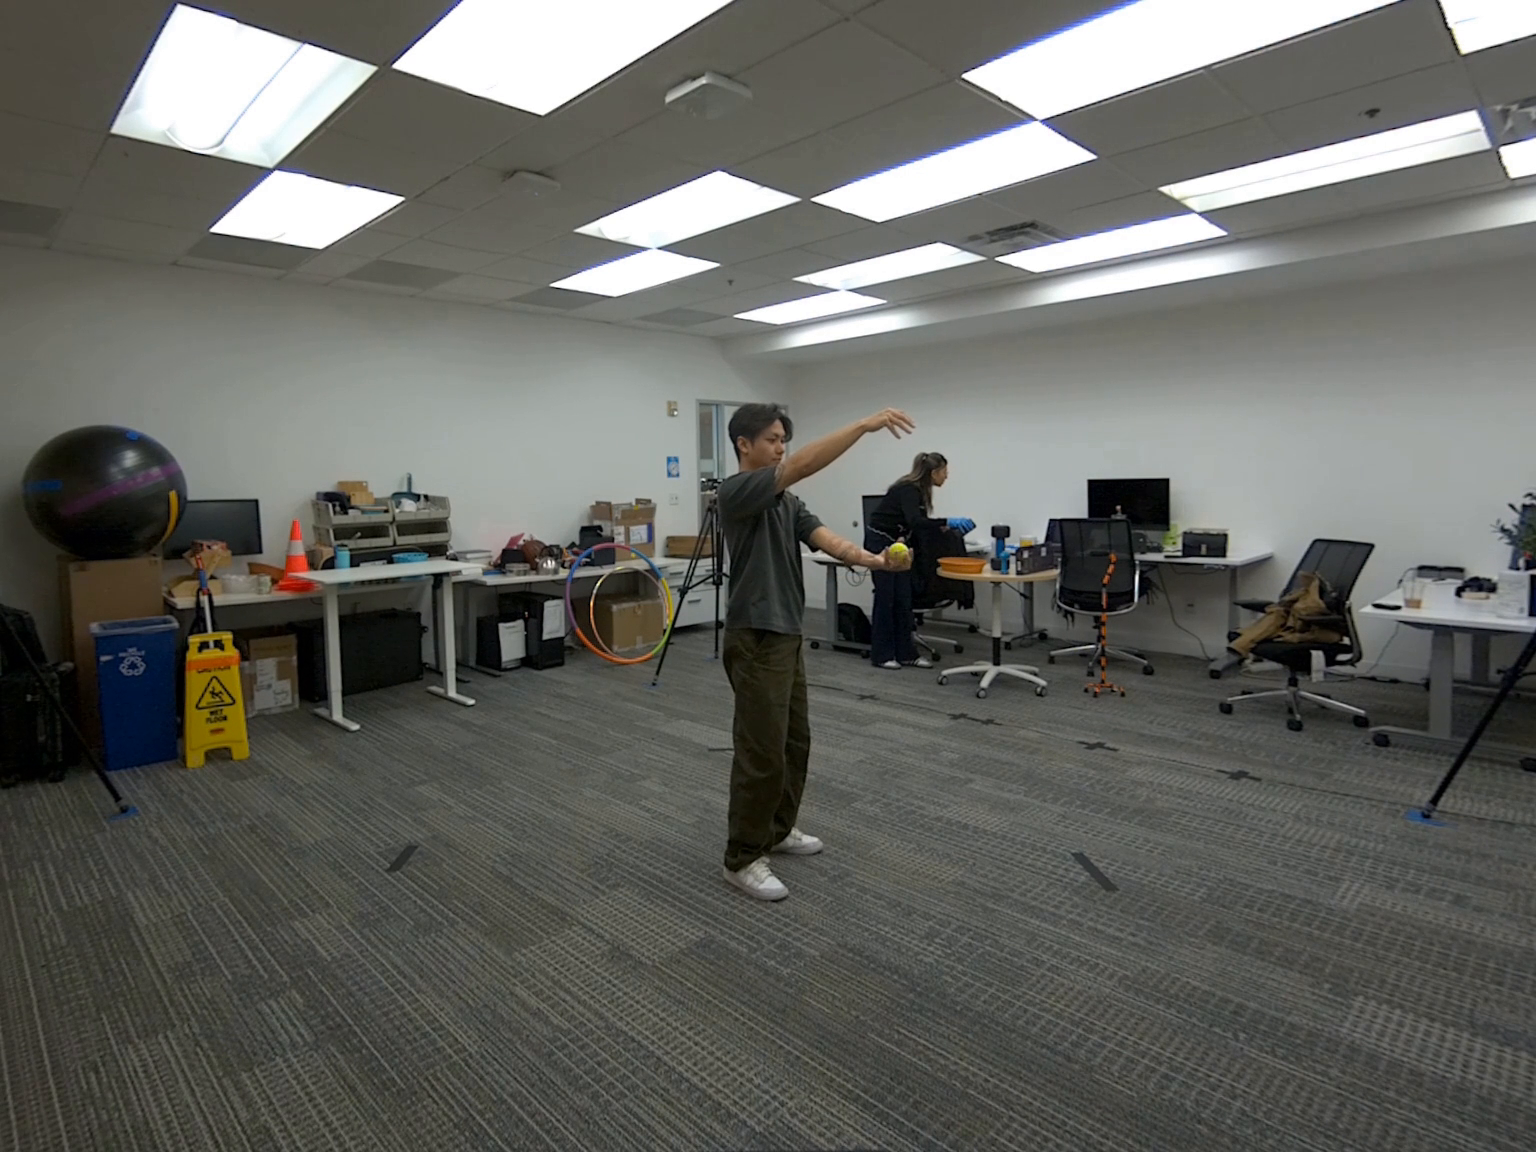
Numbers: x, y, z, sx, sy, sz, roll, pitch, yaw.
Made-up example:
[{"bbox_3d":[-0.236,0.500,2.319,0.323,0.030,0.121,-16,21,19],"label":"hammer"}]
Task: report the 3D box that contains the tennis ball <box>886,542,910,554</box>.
[{"bbox_3d":[0.411,-0.134,2.766,0.066,0.066,0.067,-1,5,-2],"label":"tennis ball"}]
